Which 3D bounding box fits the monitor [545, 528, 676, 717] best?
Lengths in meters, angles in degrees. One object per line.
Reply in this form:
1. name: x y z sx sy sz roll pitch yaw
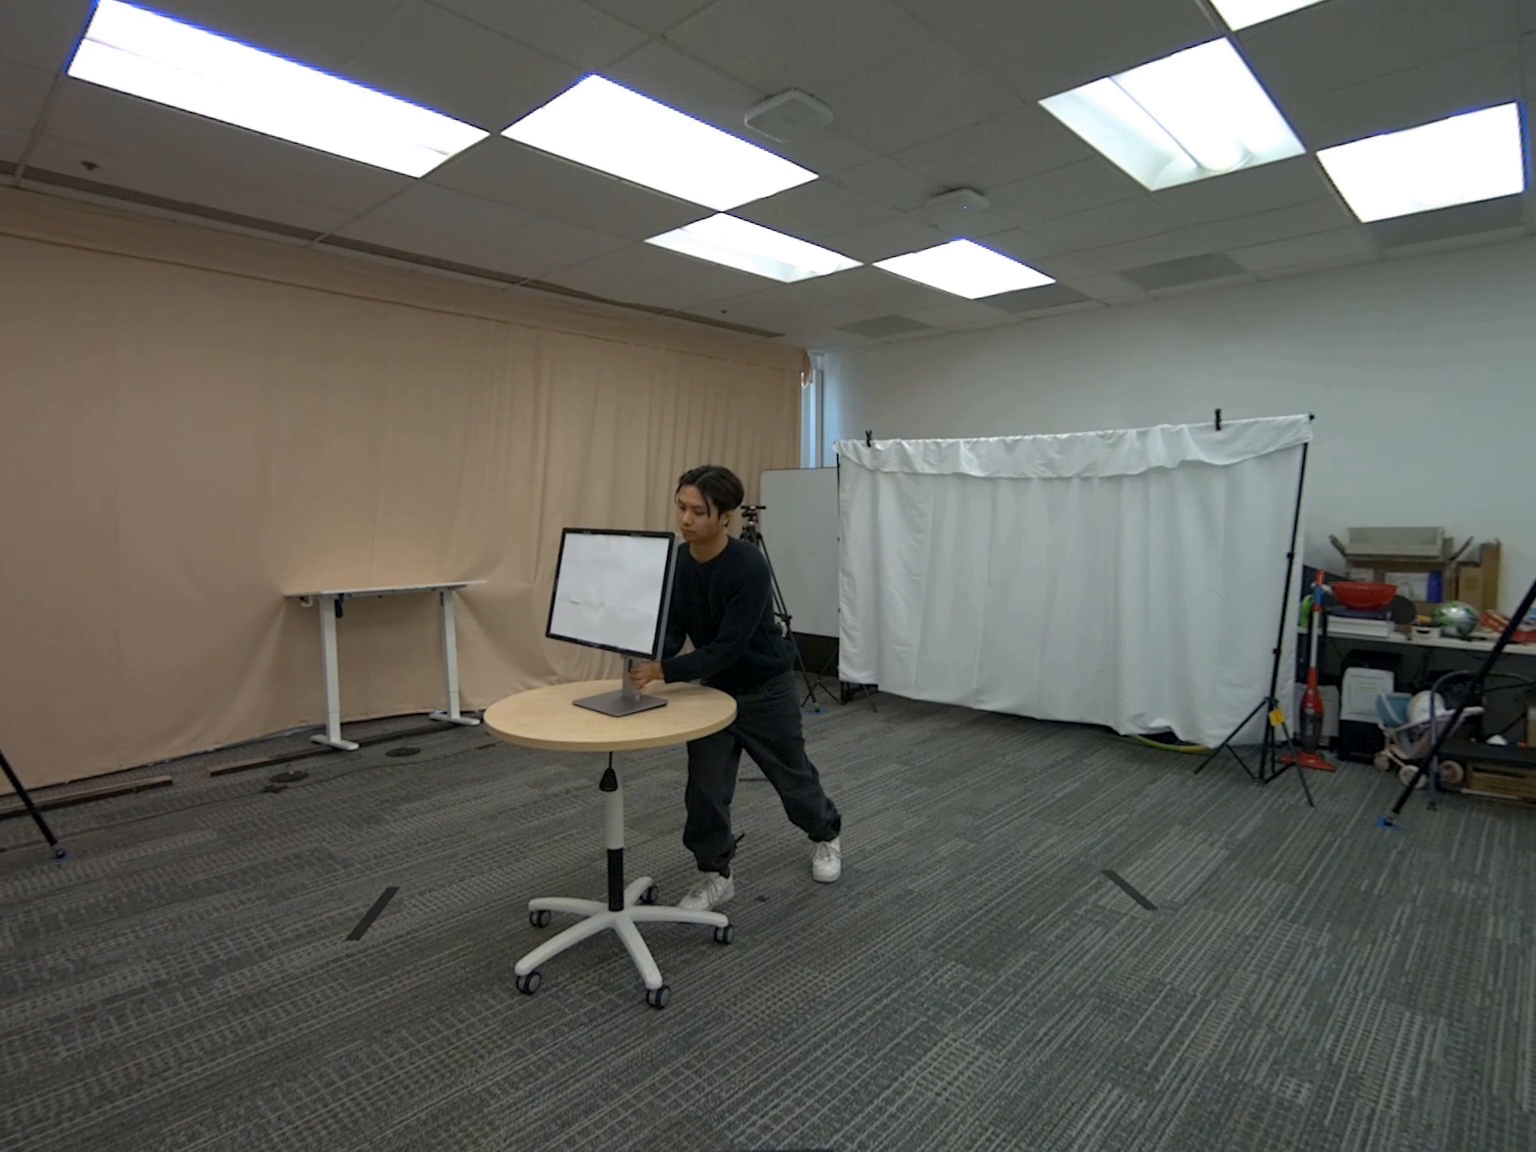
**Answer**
1. monitor: -0.464 0.129 2.587 0.548 0.513 0.170 6 13 44
